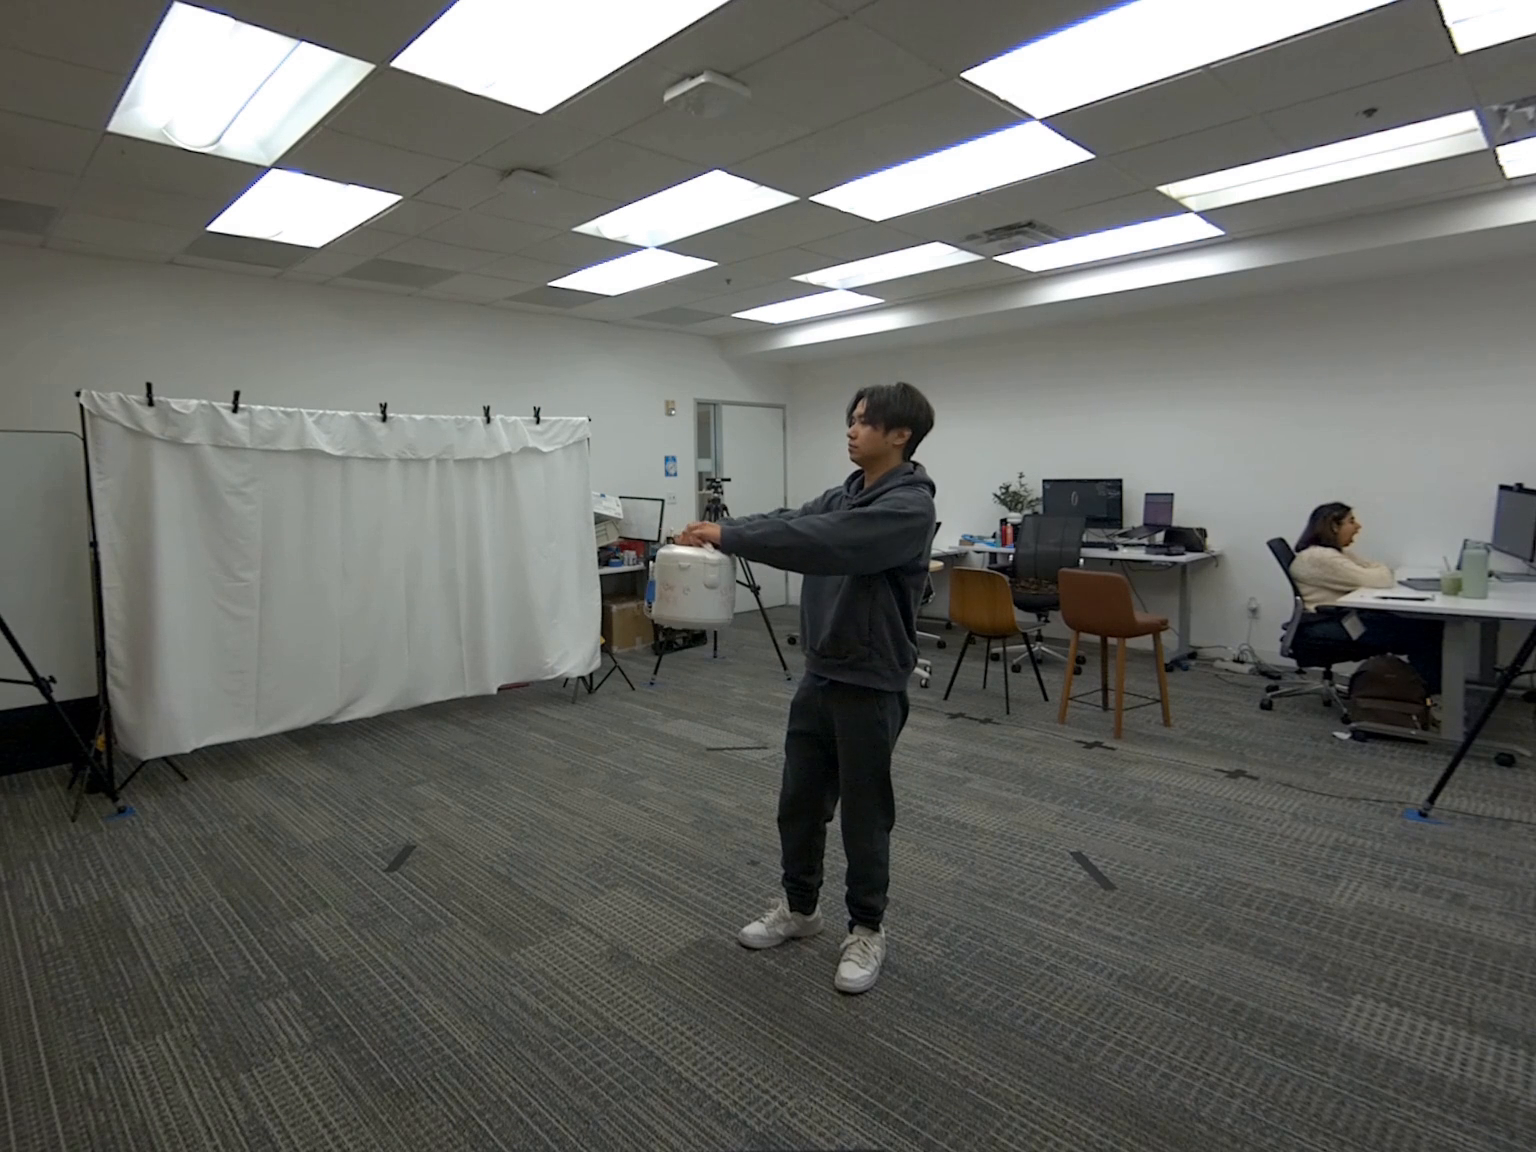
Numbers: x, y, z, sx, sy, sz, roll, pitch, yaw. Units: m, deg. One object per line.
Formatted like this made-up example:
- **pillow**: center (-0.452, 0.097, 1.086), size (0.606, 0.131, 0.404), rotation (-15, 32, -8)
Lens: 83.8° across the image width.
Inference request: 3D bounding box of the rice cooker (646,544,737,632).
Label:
- **rice cooker**: center (-0.180, 0.020, 2.212), size (0.212, 0.232, 0.226), rotation (3, 2, -27)
